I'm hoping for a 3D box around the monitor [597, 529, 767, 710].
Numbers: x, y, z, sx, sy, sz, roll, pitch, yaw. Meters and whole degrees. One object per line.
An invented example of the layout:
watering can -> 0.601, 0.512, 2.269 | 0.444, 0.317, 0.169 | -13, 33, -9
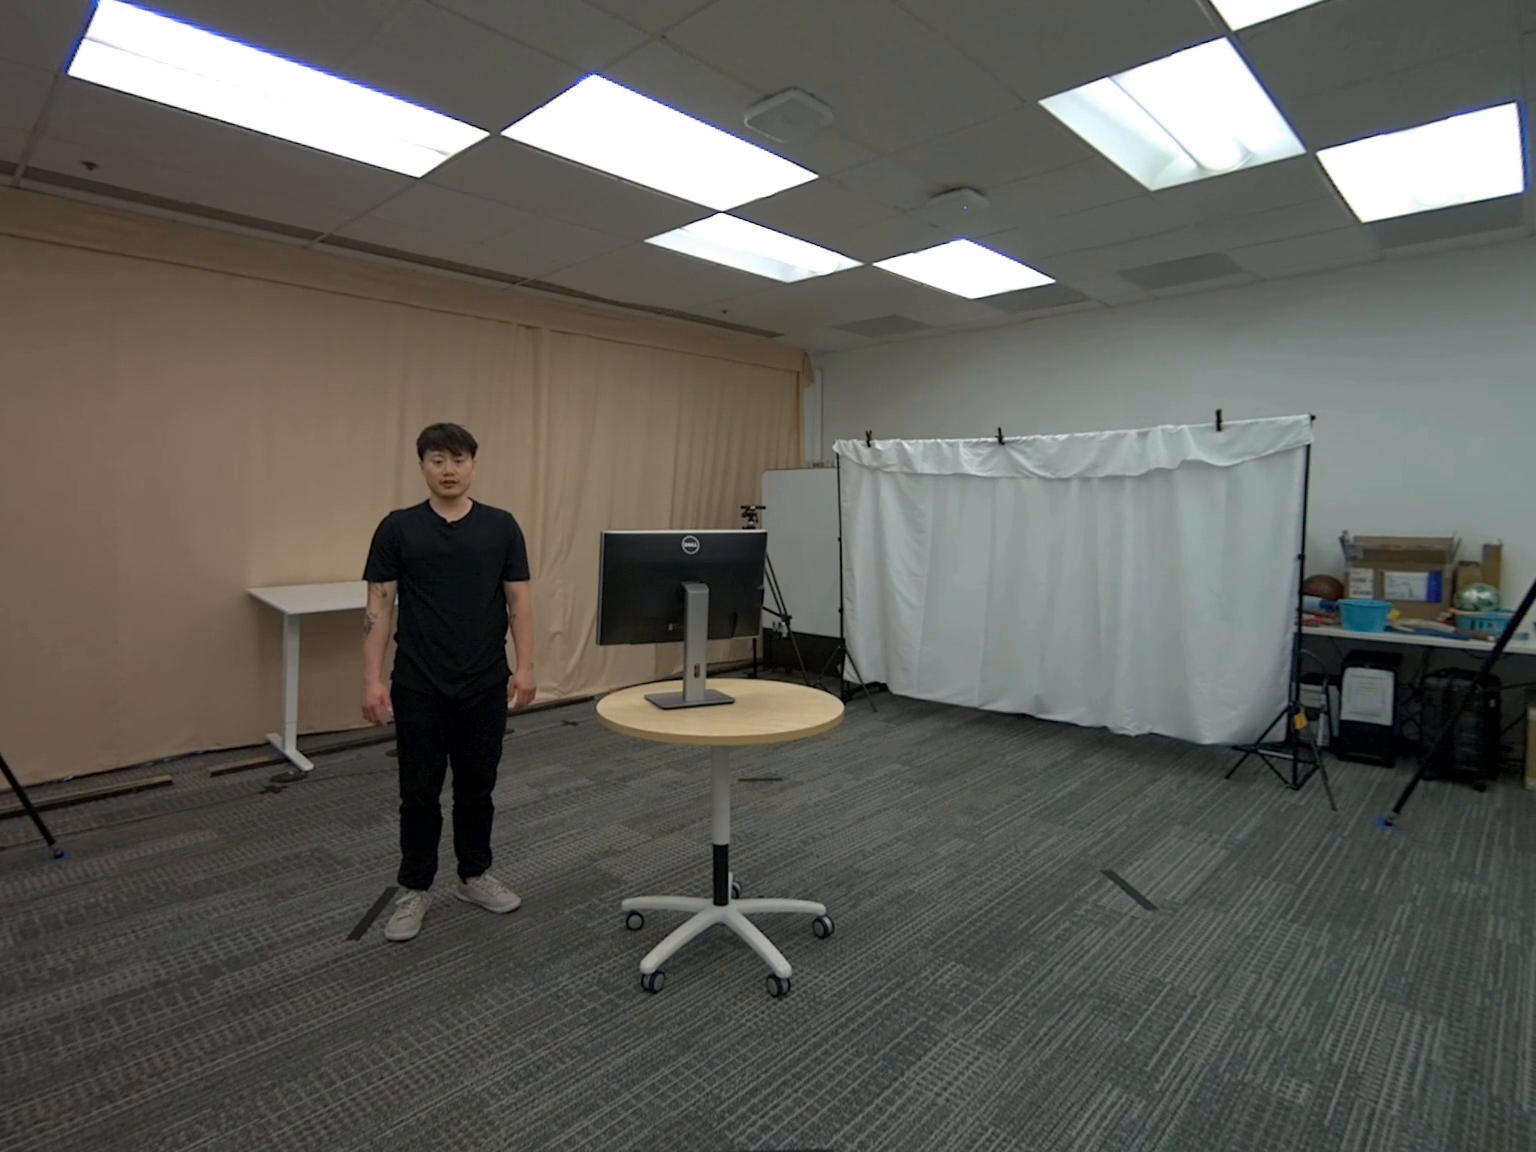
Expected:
monitor -> -0.247, 0.132, 2.647 | 0.526, 0.522, 0.192 | -1, 1, -24
